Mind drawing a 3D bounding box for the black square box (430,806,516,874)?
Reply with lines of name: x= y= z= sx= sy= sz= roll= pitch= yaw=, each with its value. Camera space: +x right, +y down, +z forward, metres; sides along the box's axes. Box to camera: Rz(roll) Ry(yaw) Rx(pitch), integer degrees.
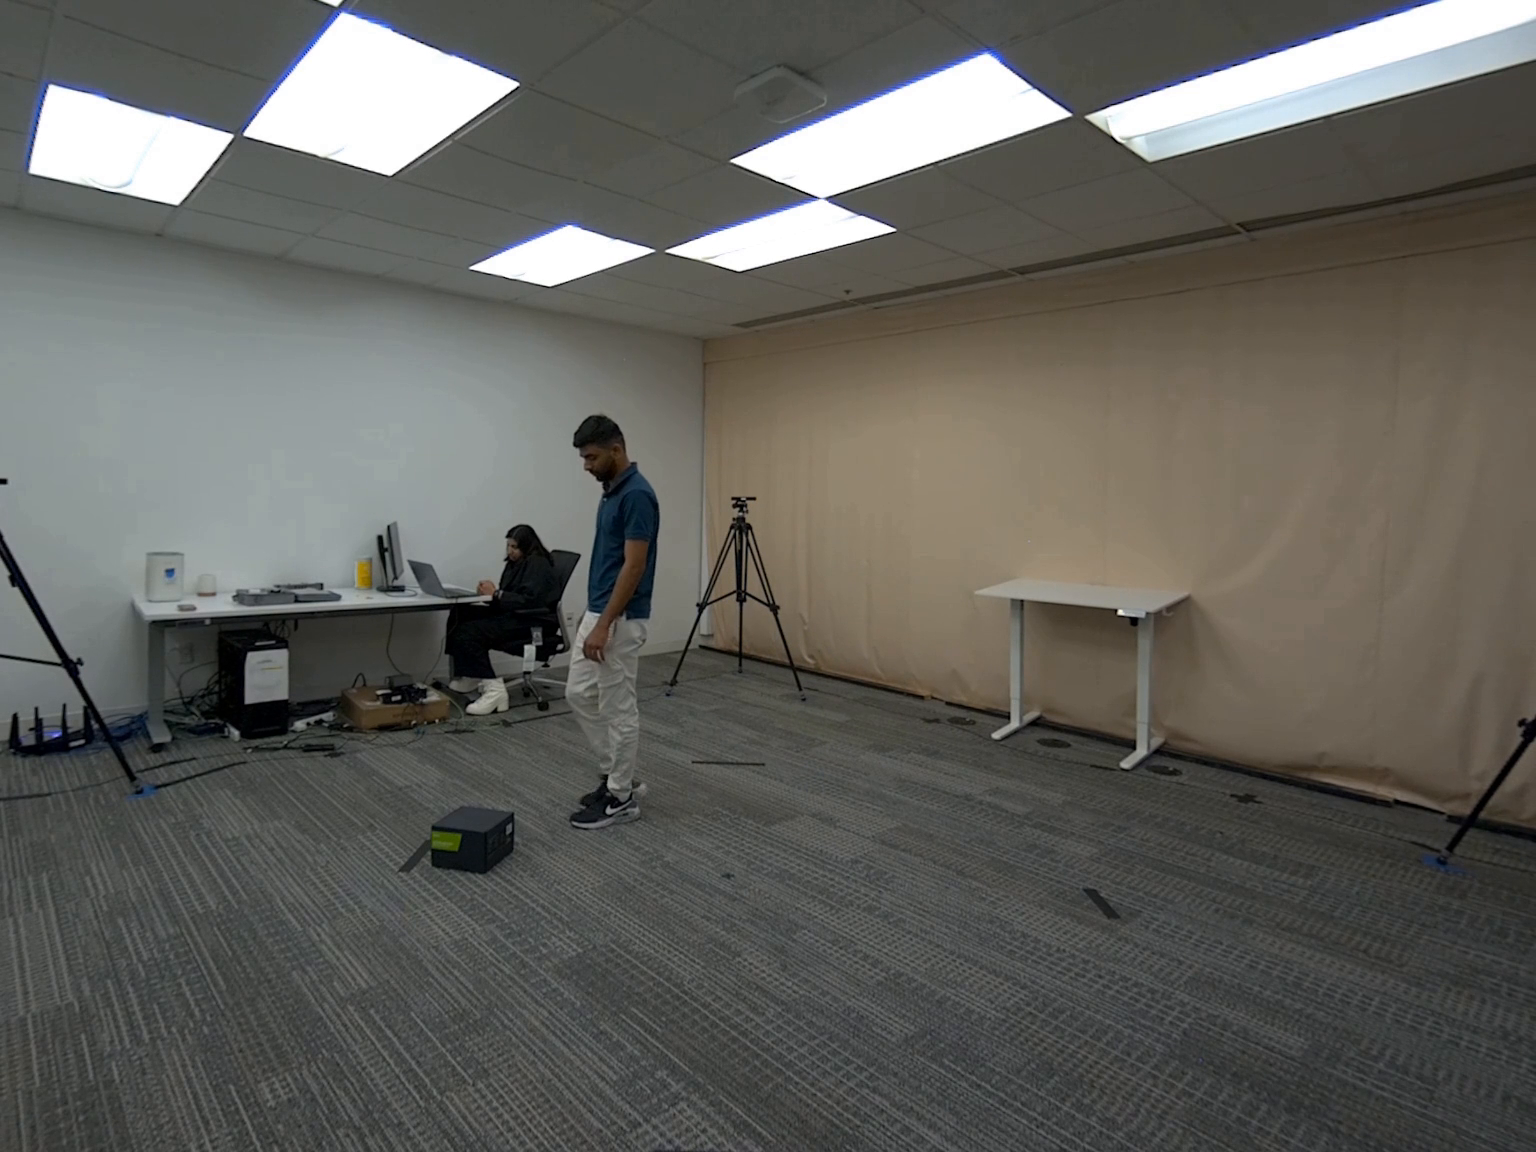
black square box: x=-1.128 y=0.993 z=3.194 sx=0.230 sy=0.155 sz=0.215 roll=3 pitch=5 yaw=12
